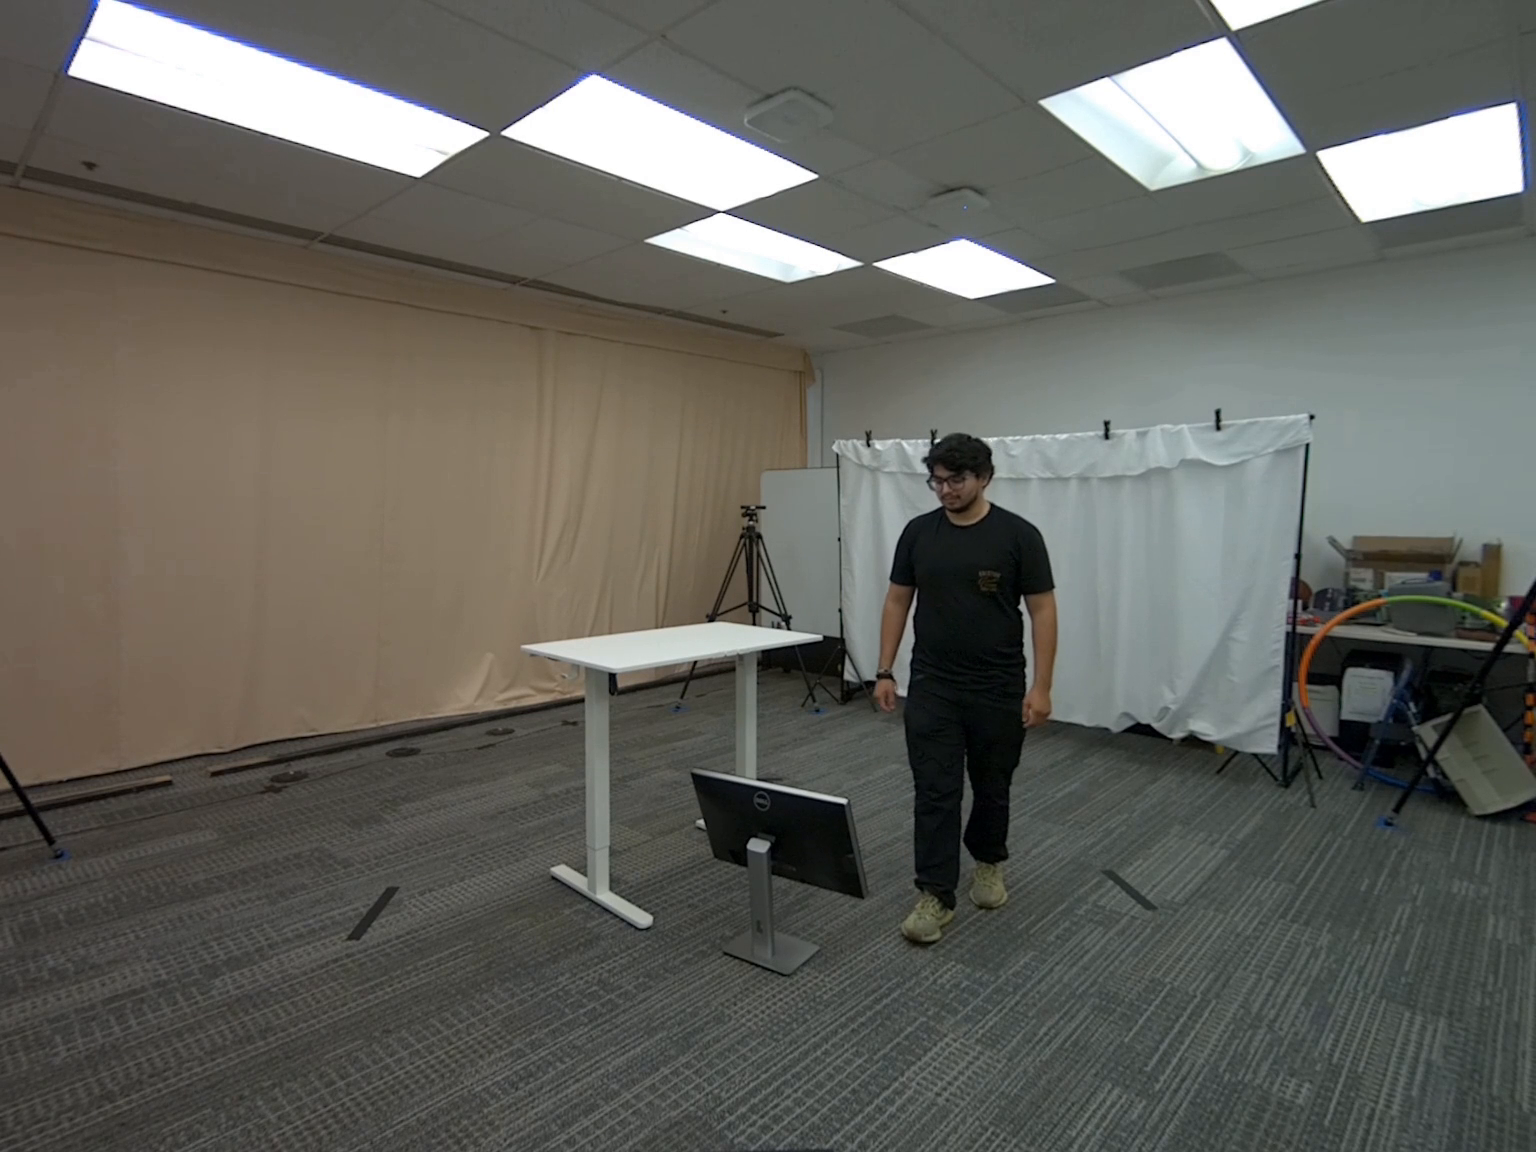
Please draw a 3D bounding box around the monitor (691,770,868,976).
[{"bbox_3d":[0.001,0.911,2.593,0.582,0.549,0.205,2,13,33],"label":"monitor"}]
